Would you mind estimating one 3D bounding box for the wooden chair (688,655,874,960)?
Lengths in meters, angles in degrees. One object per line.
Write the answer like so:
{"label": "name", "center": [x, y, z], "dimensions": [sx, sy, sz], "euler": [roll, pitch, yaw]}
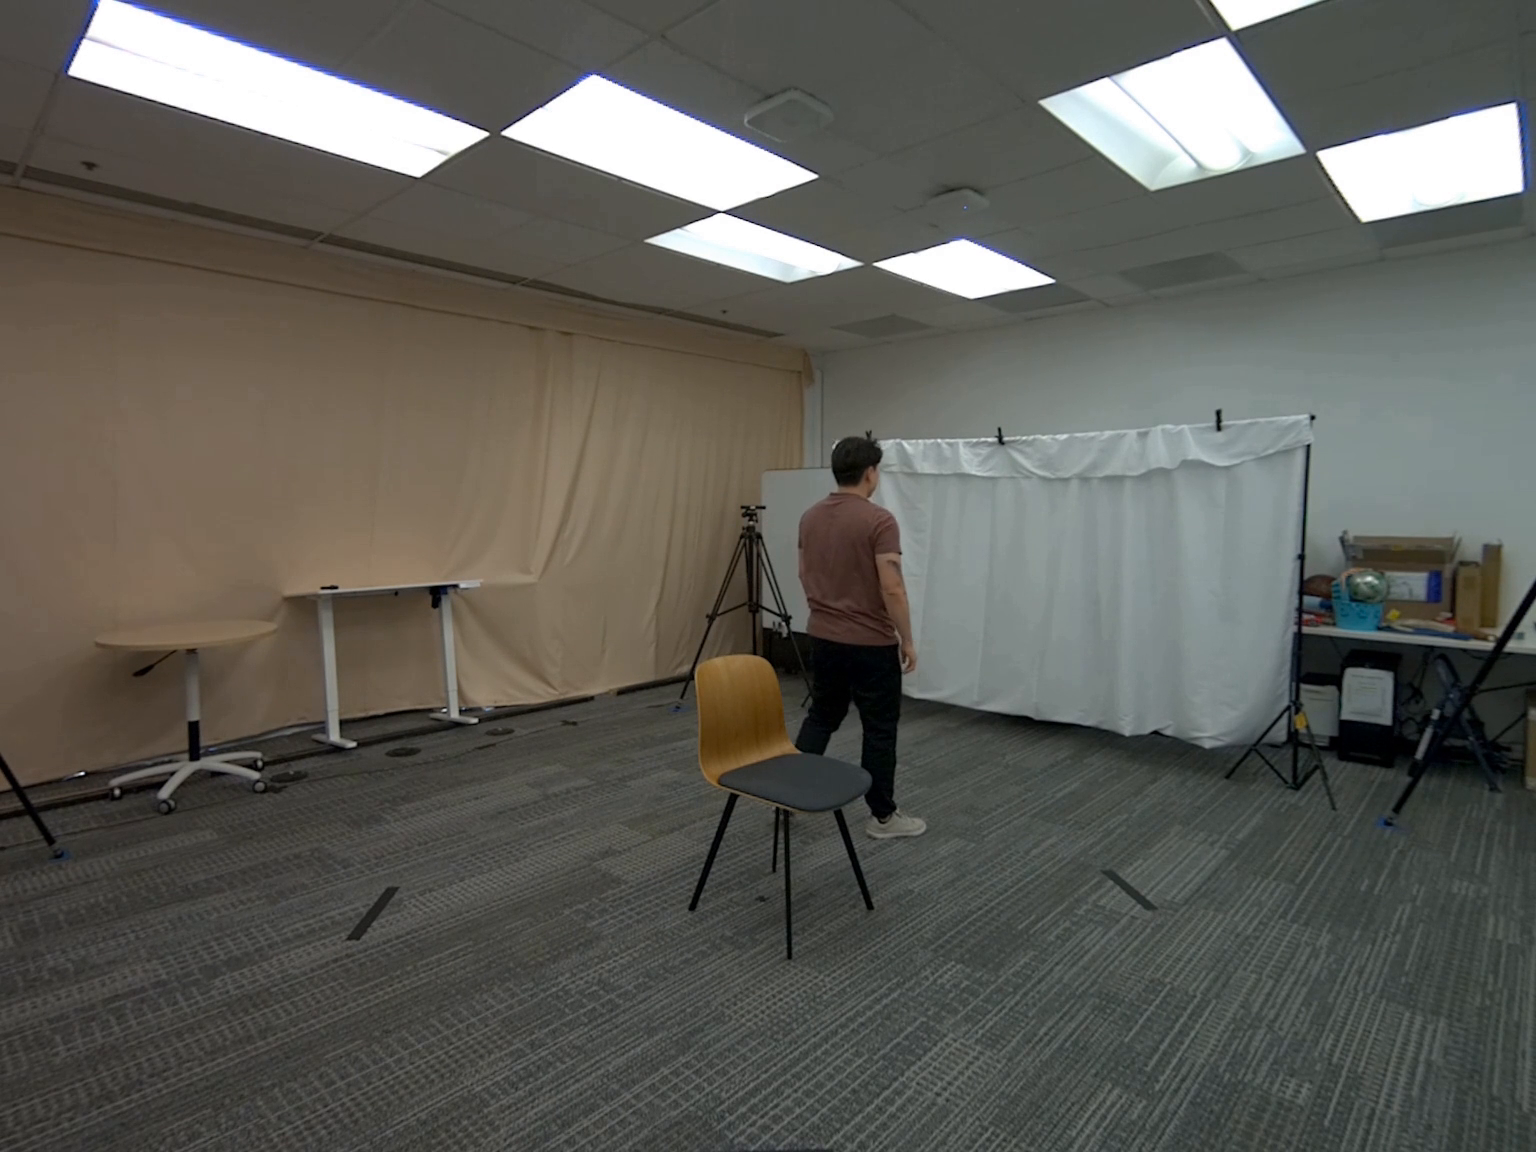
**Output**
{"label": "wooden chair", "center": [0.051, 0.727, 2.860], "dimensions": [0.539, 0.877, 0.463], "euler": [-3, 0, 43]}
